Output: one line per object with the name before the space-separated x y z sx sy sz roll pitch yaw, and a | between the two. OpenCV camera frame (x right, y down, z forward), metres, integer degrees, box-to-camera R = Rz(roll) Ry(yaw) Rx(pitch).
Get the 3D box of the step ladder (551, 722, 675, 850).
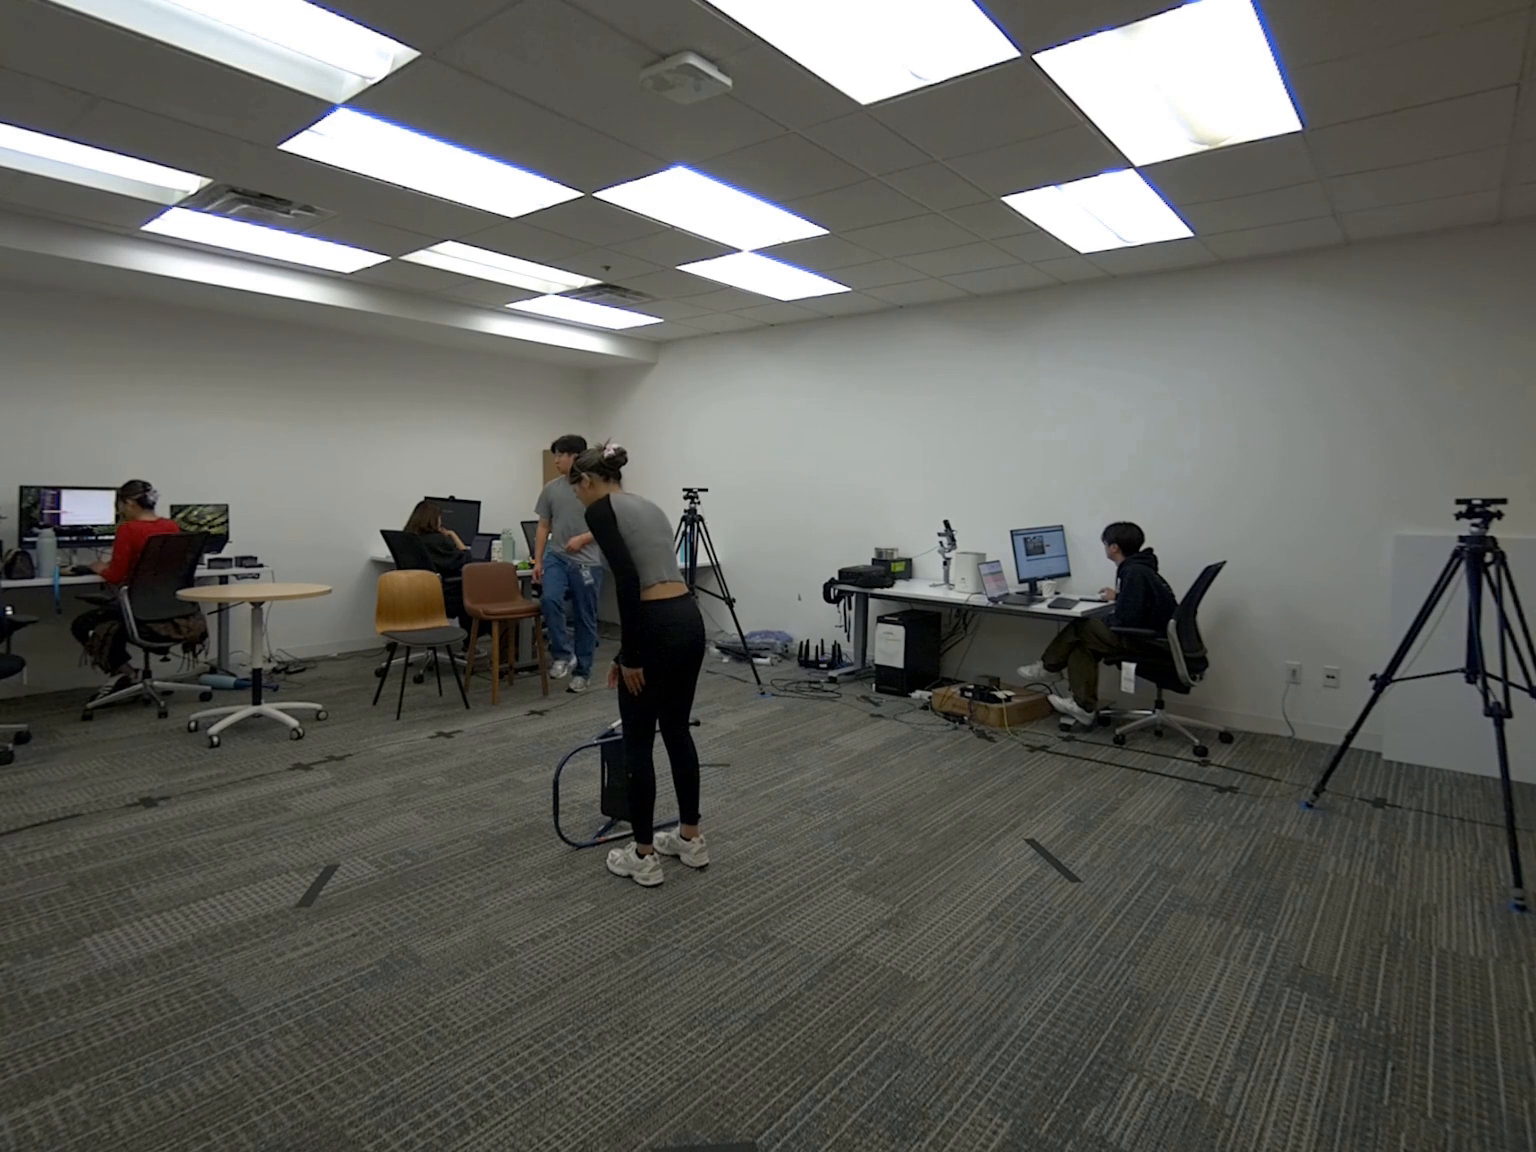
step ladder | -0.600 0.826 3.414 0.360 0.429 0.590 1 5 32
